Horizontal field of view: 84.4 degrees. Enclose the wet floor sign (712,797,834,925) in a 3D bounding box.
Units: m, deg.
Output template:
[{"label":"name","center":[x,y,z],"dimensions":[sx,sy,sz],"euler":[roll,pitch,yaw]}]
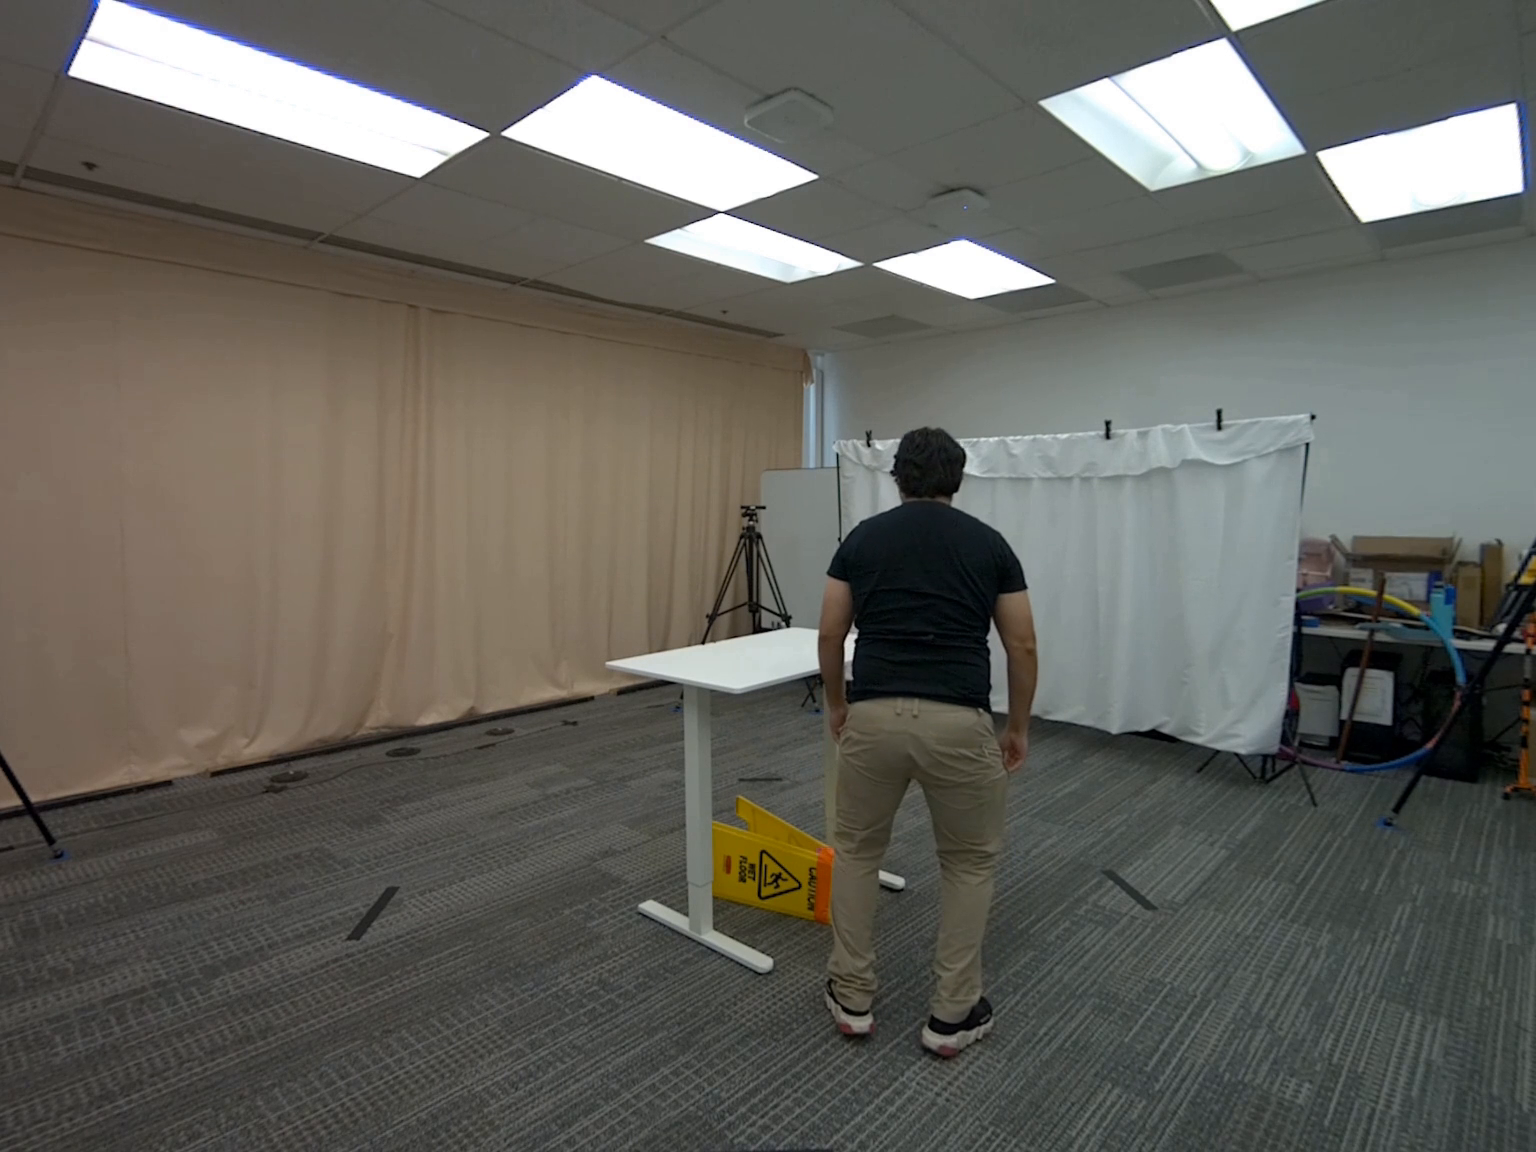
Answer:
[{"label":"wet floor sign","center":[0.062,1.025,2.944],"dimensions":[0.668,0.281,0.281],"euler":[7,7,38]}]
